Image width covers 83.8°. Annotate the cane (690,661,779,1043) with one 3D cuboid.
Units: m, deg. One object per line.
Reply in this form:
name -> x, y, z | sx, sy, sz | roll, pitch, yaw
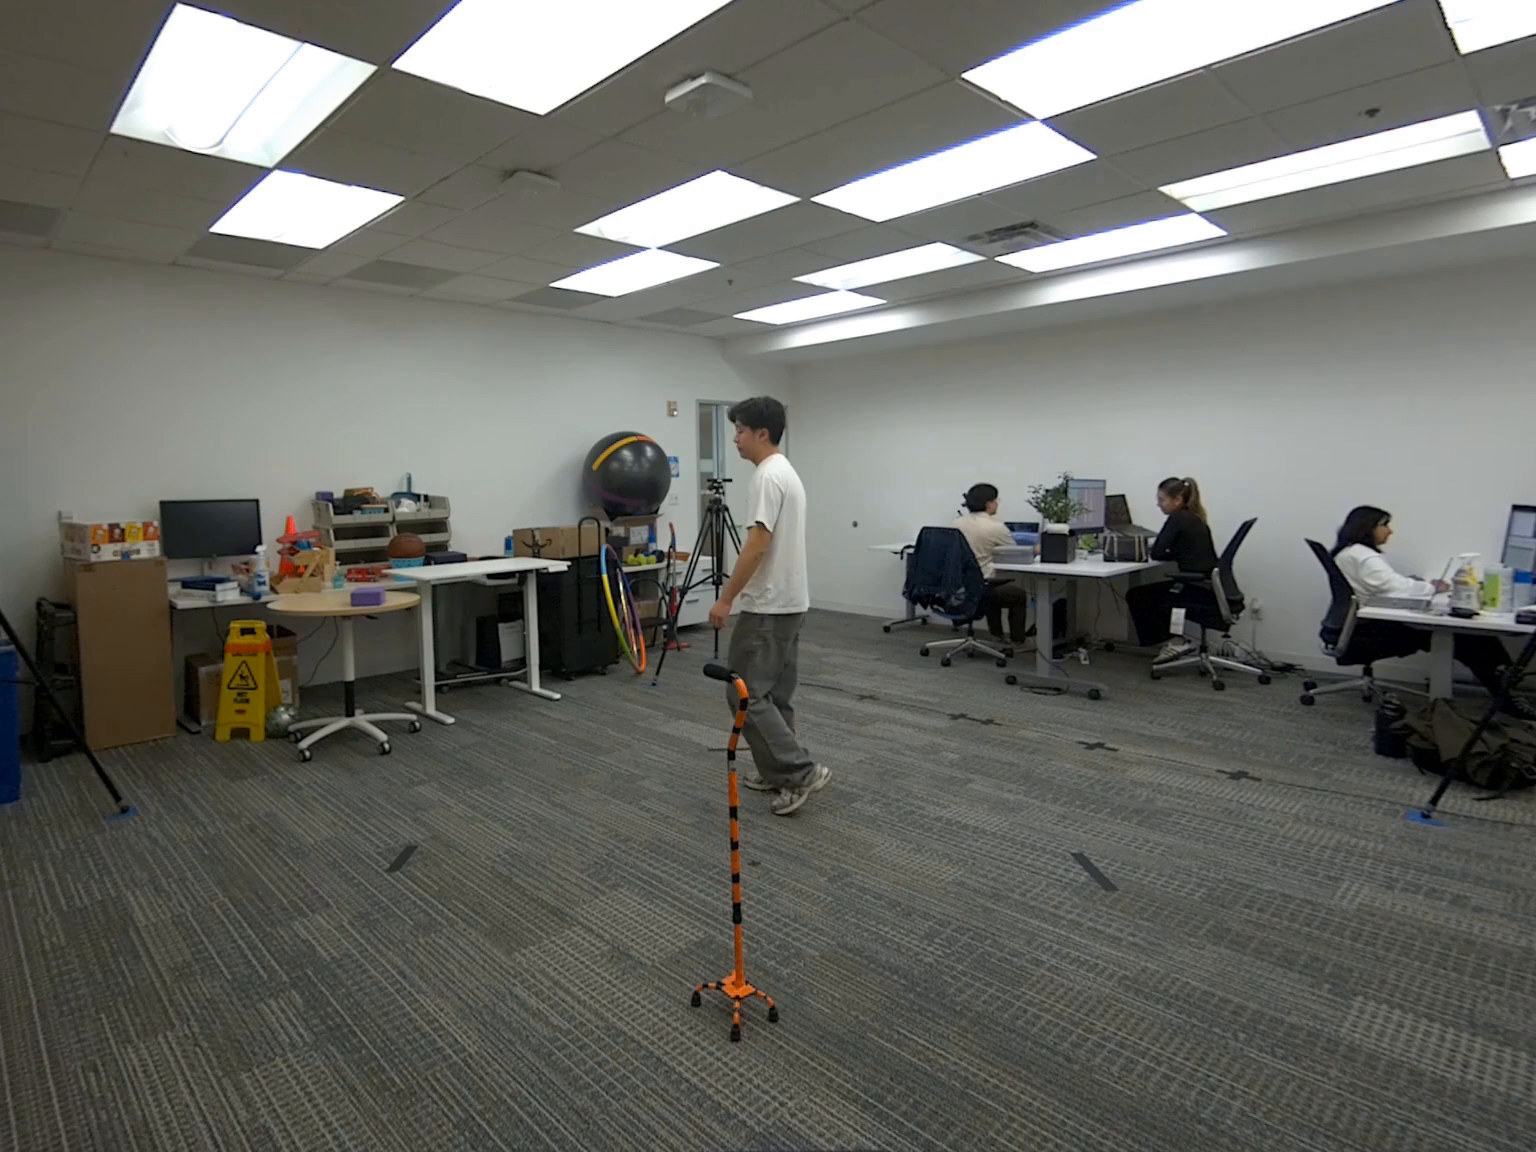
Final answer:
cane -> -0.096, 0.701, 2.221 | 0.148, 0.904, 0.212 | -4, 5, -37
